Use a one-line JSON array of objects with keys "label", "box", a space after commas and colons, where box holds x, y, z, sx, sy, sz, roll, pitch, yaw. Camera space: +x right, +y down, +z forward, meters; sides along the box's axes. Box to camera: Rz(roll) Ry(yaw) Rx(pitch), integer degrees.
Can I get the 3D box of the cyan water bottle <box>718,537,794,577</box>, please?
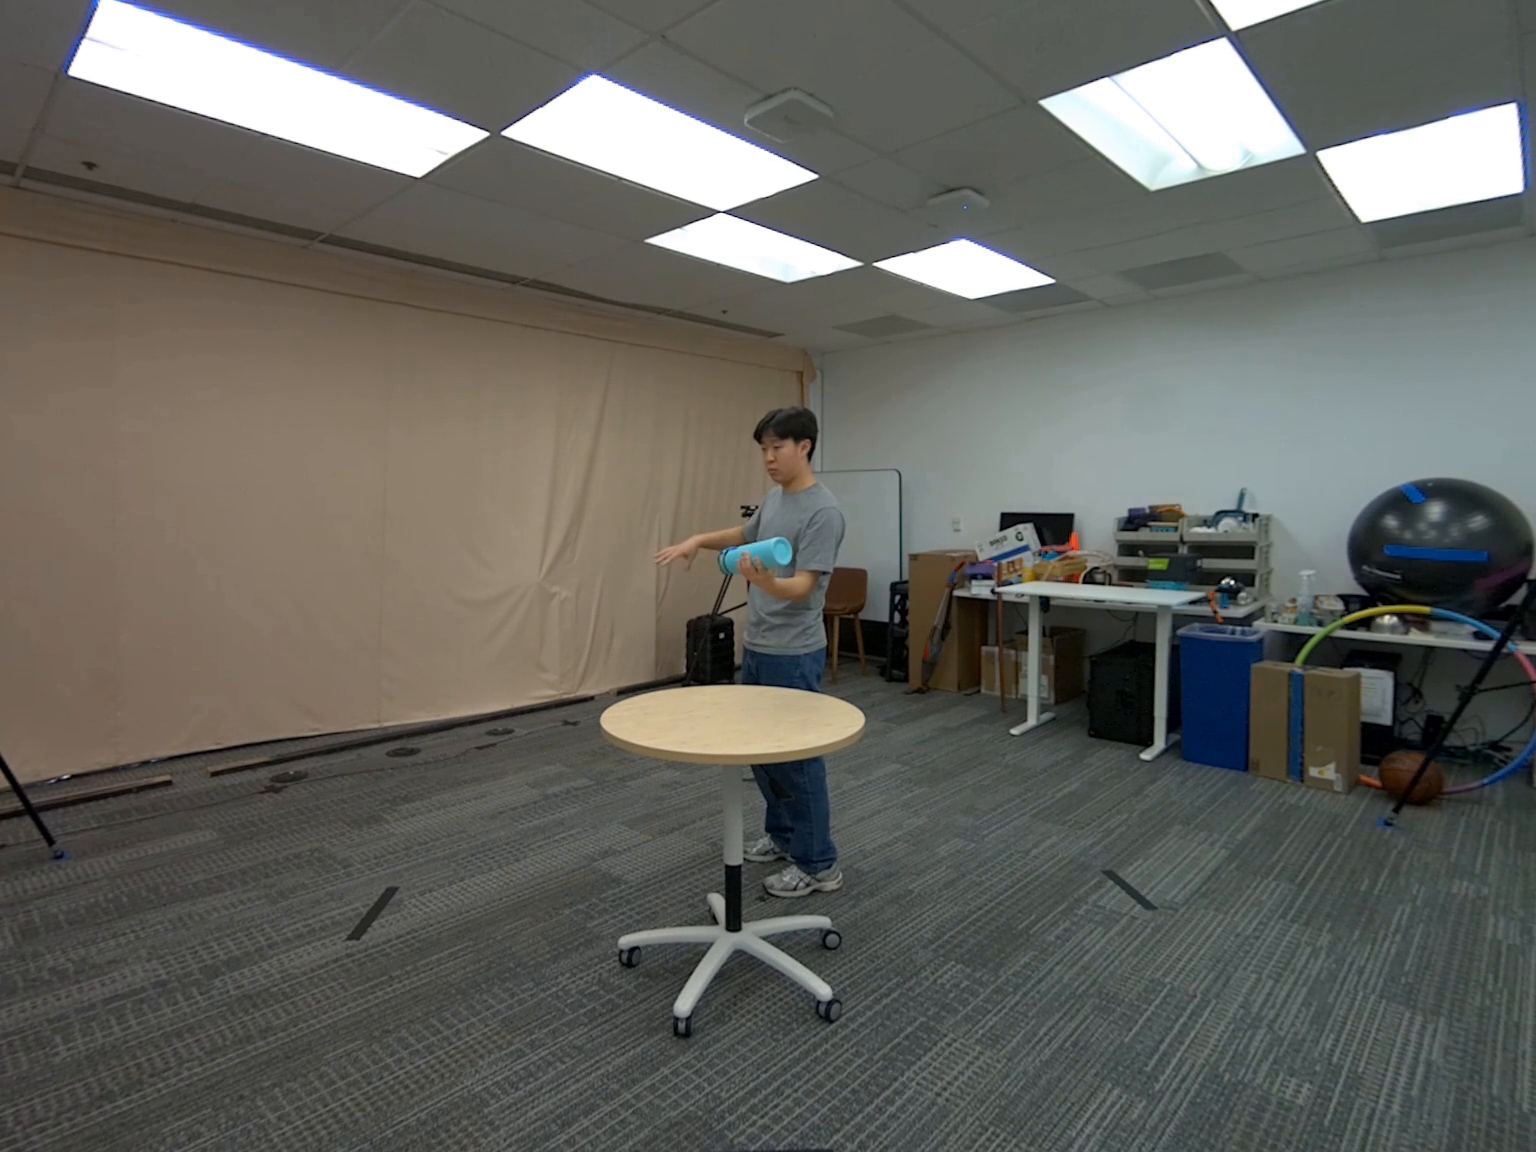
[{"label": "cyan water bottle", "box": [-0.063, -0.065, 2.686, 0.089, 0.092, 0.291, -3, -5, -41]}]
